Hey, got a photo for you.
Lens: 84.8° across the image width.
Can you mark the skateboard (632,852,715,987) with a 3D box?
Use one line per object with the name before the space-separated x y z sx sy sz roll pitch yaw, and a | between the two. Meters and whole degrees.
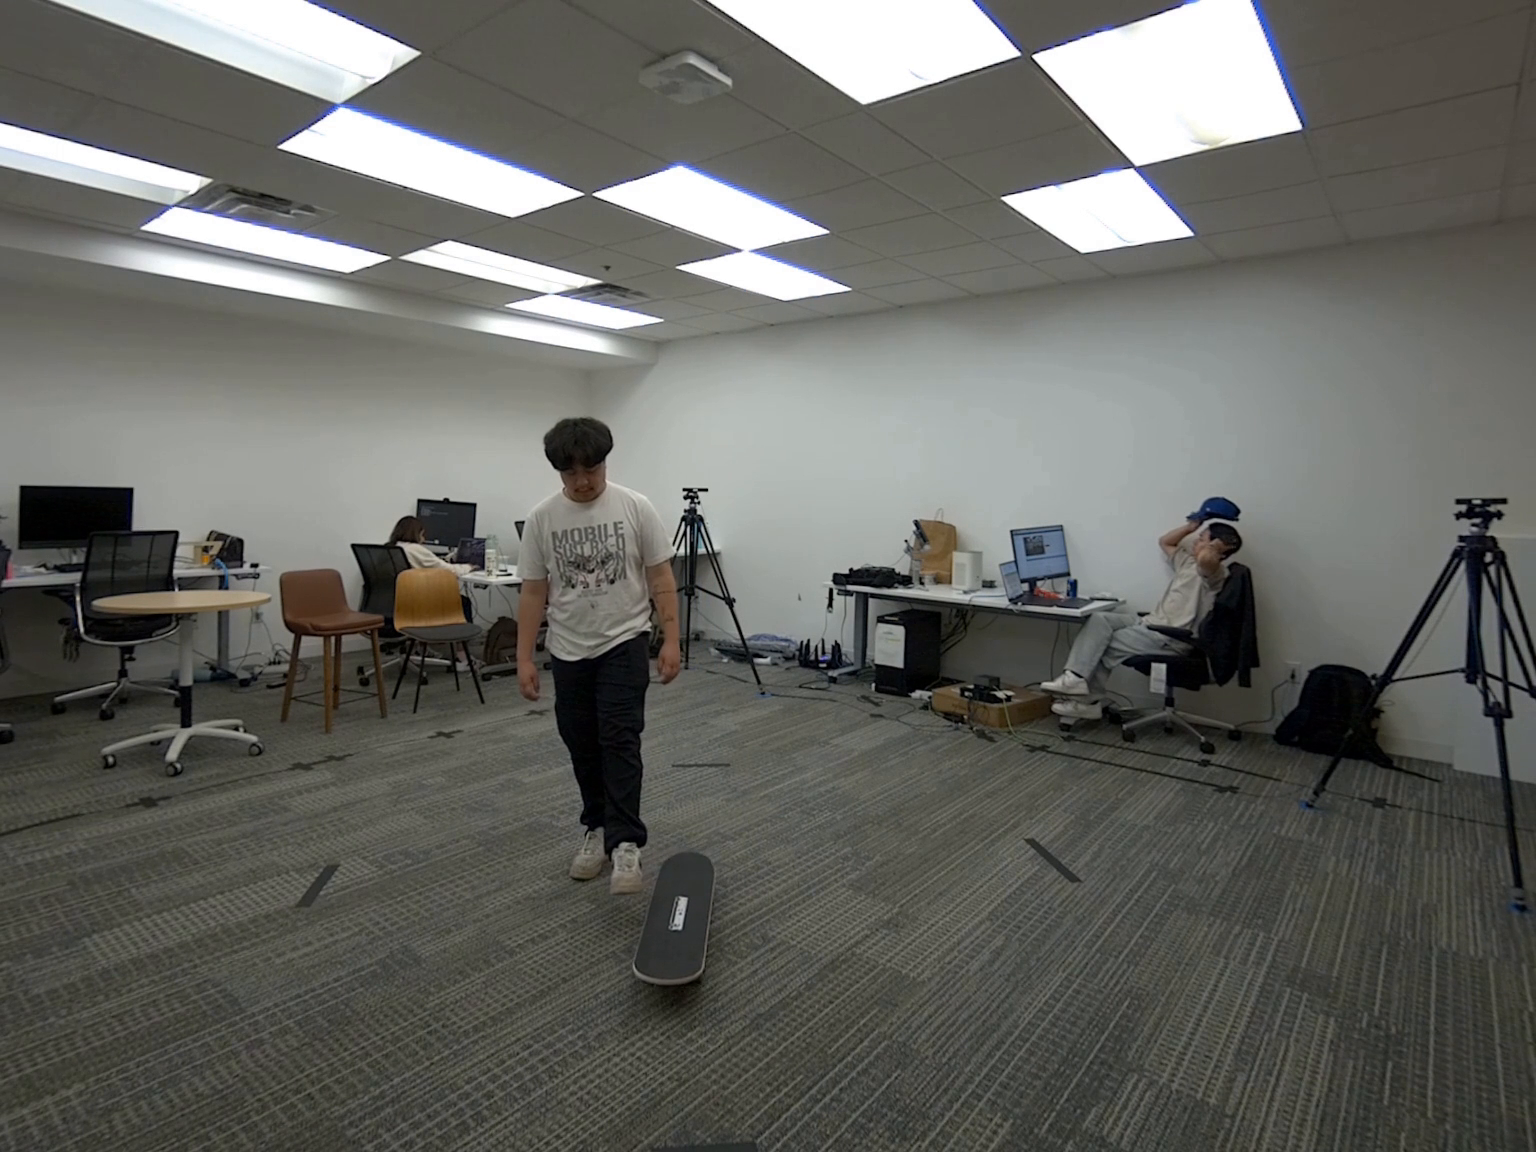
skateboard | -0.281 1.058 2.611 0.194 0.110 0.787 1 6 0
